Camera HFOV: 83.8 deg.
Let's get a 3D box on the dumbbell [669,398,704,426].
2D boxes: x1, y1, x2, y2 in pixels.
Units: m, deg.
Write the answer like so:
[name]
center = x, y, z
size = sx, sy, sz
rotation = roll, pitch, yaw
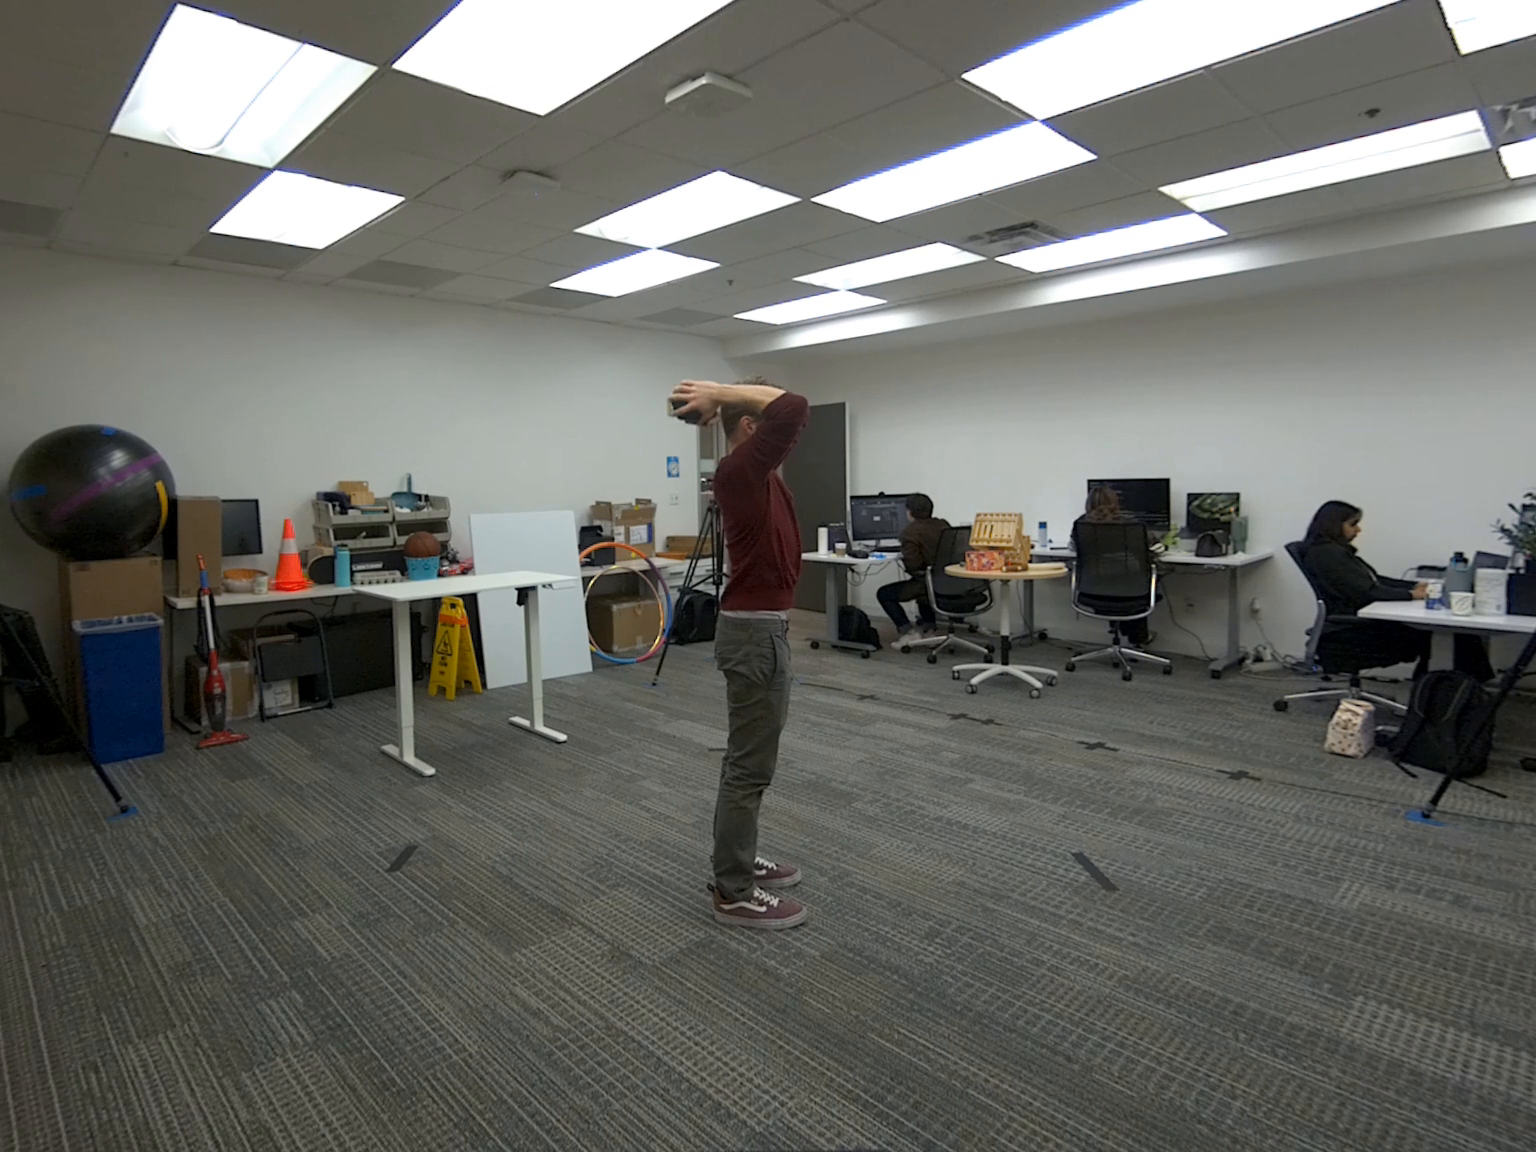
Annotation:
[dumbbell]
center = -0.217, -0.561, 2.727
size = 0.108, 0.123, 0.294
rotation = 39, 0, -3
